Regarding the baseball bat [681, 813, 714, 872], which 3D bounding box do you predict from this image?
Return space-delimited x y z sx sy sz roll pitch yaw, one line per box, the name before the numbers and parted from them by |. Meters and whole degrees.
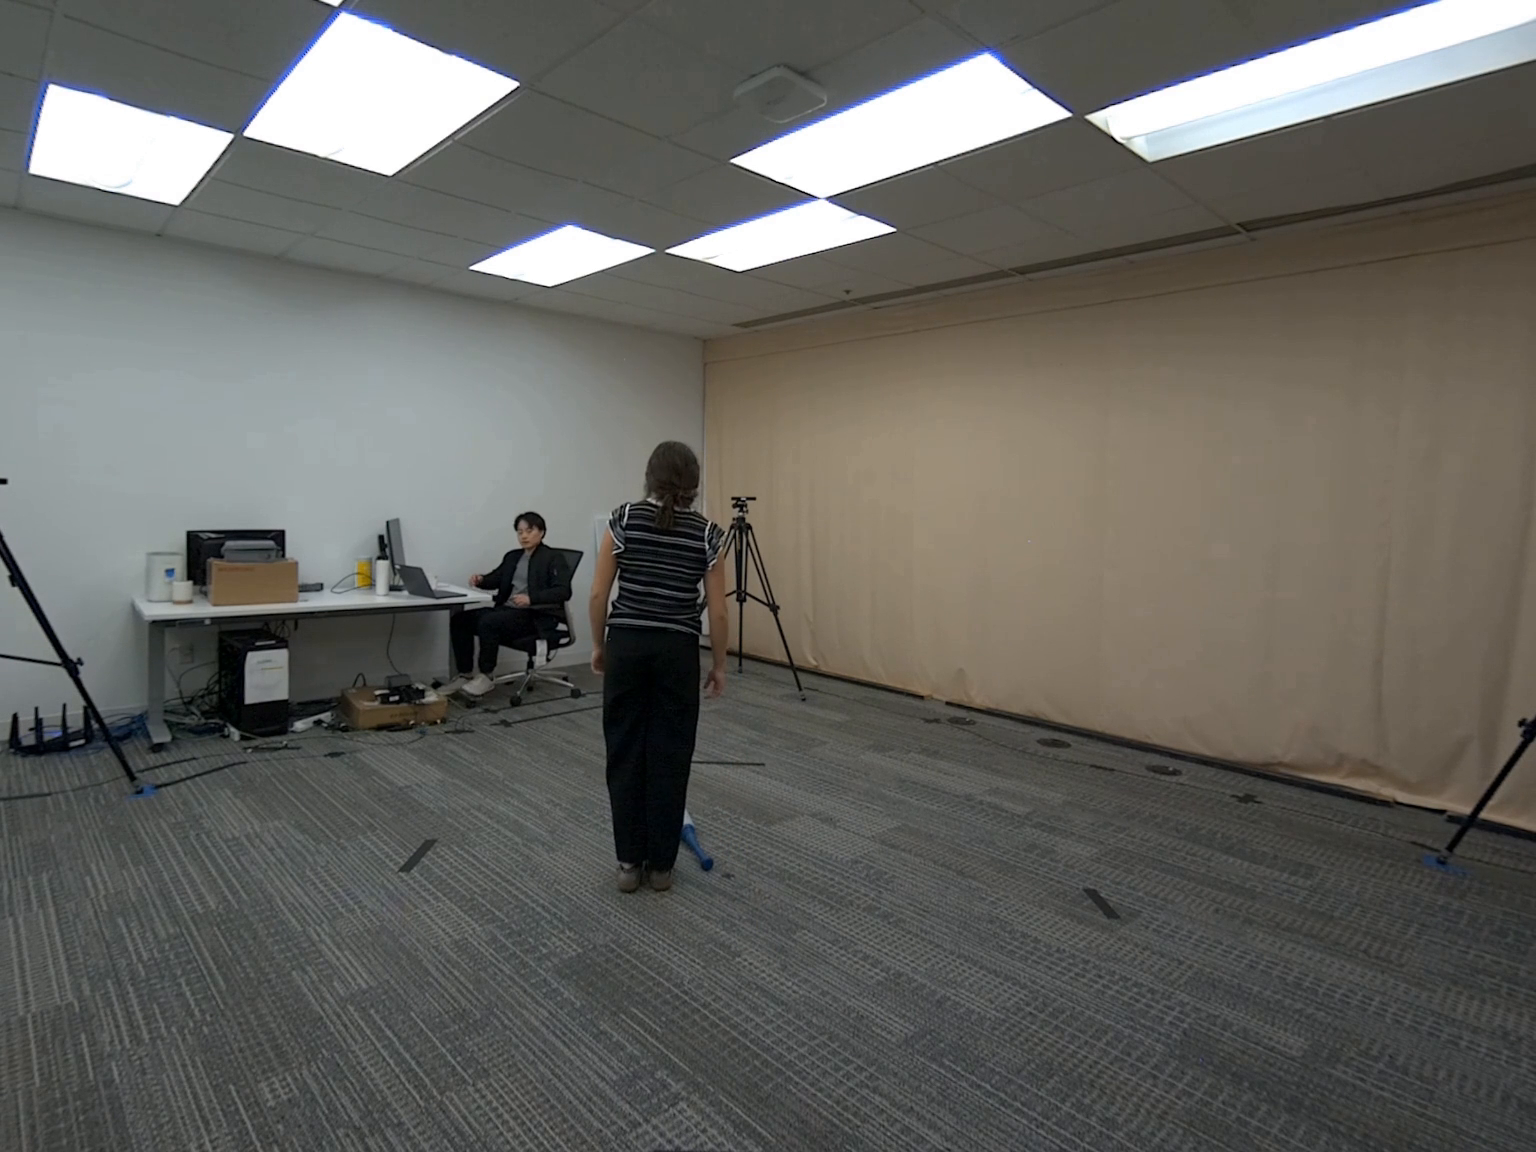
baseball bat | -0.328 1.042 3.391 0.088 0.088 0.553 0 8 -20
